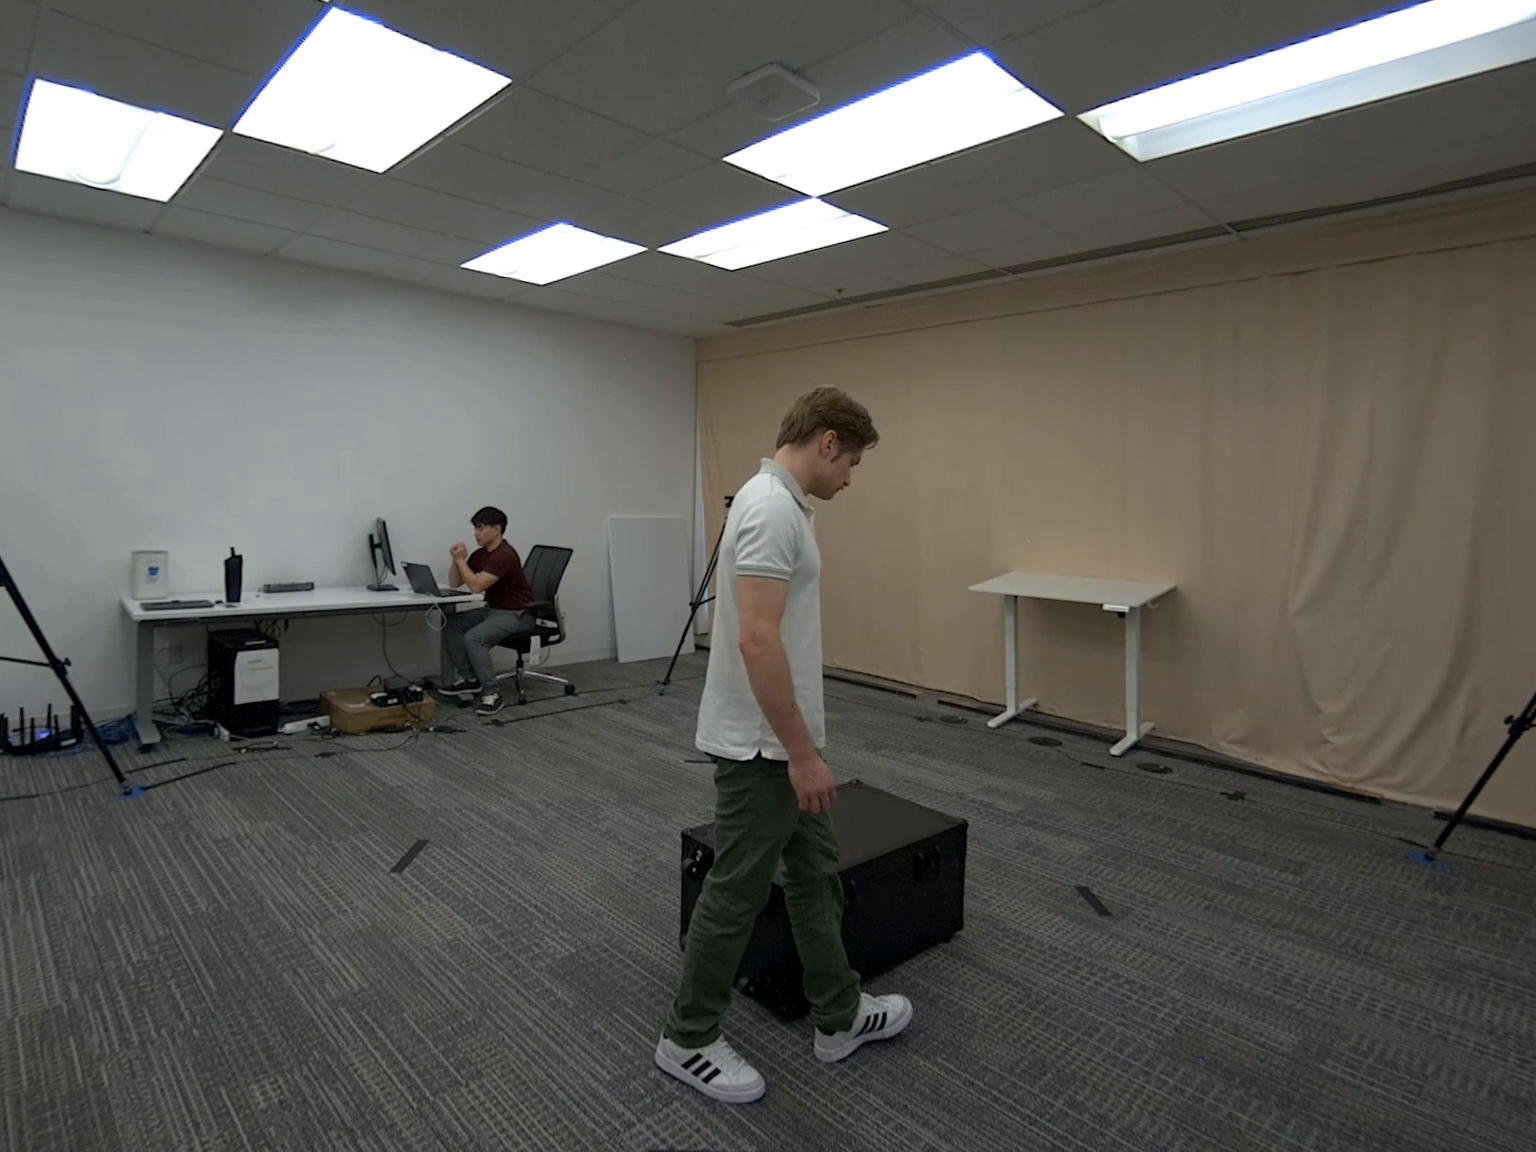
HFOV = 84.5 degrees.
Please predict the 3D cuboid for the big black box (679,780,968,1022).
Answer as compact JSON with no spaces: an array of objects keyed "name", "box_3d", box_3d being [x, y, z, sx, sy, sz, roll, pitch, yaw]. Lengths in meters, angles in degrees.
[{"name":"big black box","box_3d":[0.155,0.967,2.611,0.842,0.395,0.534,-2,6,-42]}]
